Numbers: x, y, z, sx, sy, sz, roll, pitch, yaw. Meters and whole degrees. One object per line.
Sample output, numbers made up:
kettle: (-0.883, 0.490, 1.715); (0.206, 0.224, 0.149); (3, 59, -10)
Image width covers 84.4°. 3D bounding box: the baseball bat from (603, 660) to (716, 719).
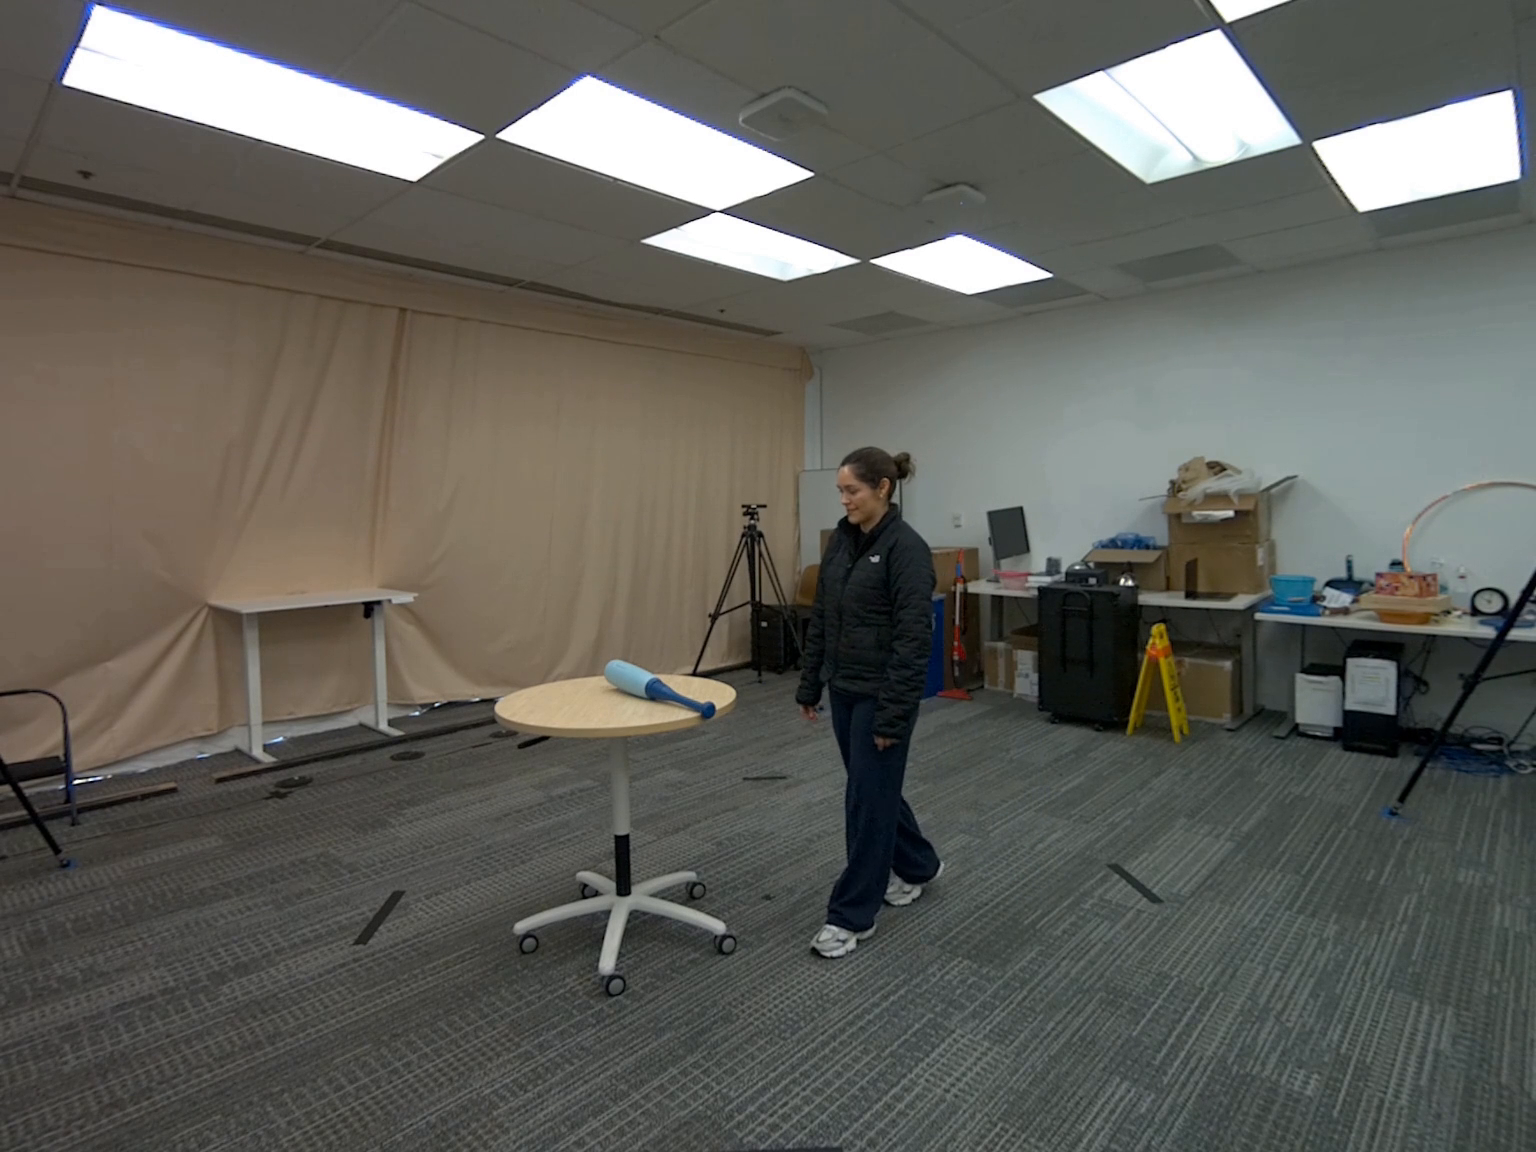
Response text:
baseball bat: (-0.320, 0.359, 2.653); (0.086, 0.089, 0.562); (-4, 10, -41)
